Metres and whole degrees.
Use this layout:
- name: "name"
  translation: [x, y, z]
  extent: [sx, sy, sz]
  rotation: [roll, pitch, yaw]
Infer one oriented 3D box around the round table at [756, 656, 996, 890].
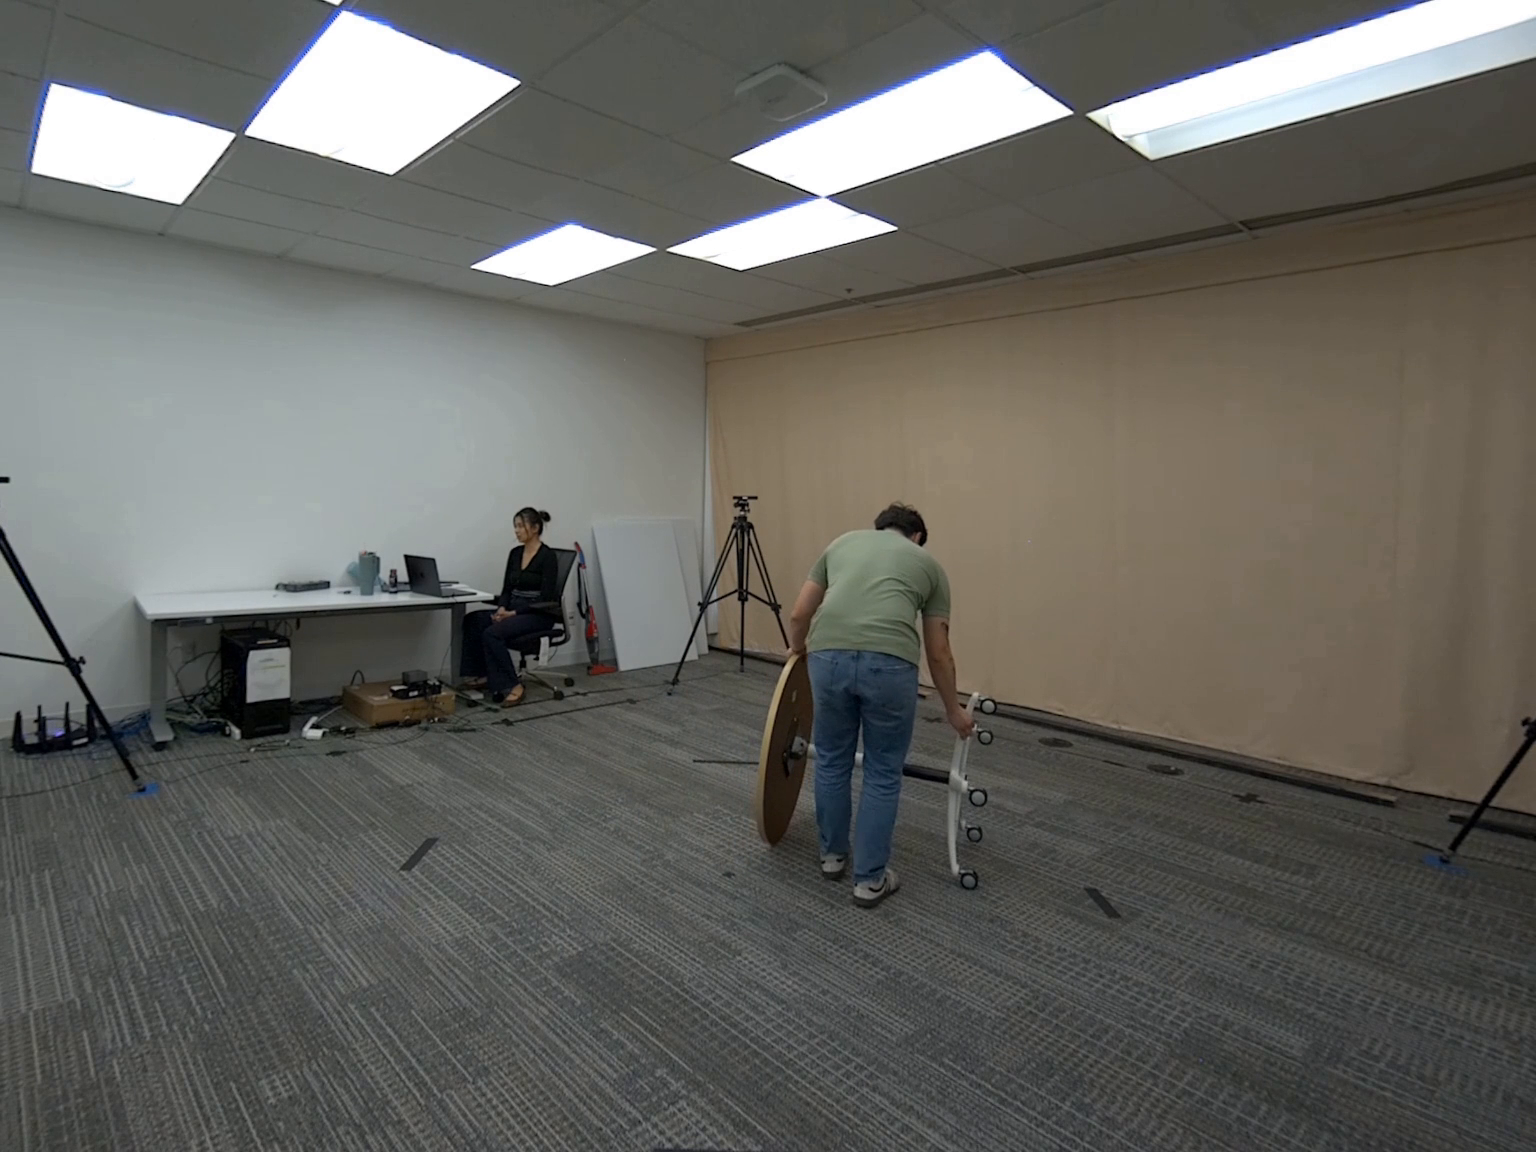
- name: "round table"
  translation: [0.445, 0.750, 3.319]
  extent: [0.806, 0.761, 0.755]
  rotation: [8, 6, 17]
